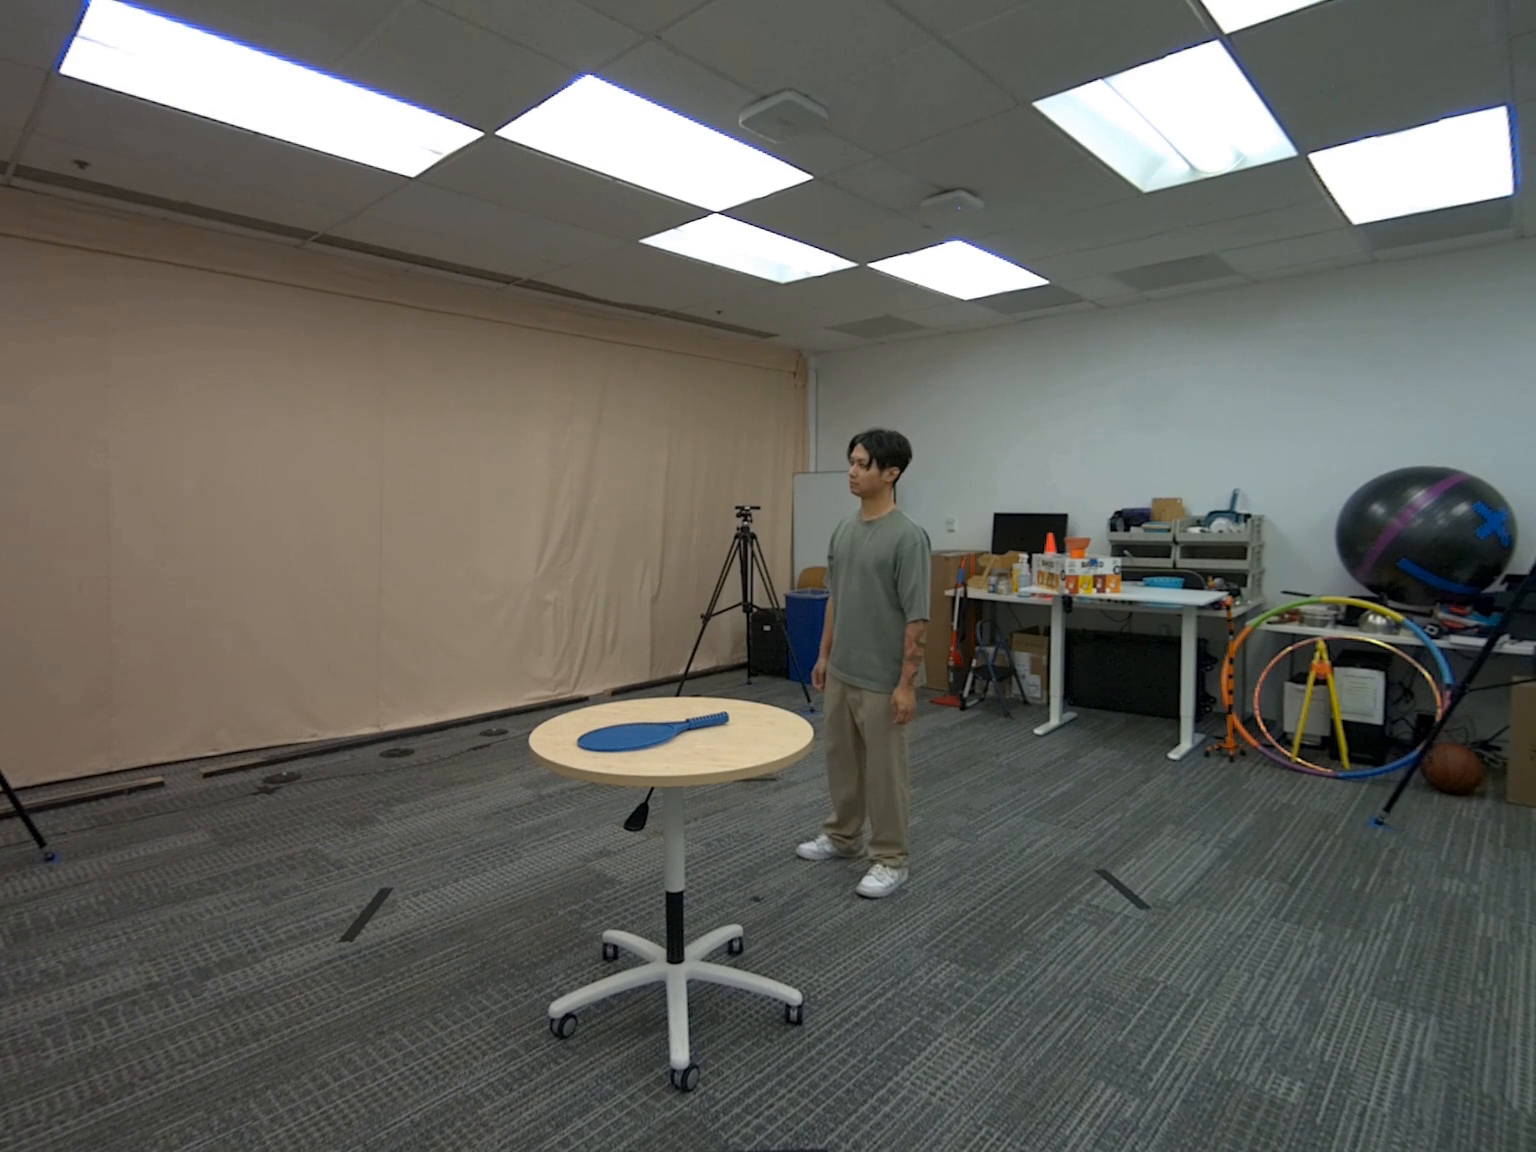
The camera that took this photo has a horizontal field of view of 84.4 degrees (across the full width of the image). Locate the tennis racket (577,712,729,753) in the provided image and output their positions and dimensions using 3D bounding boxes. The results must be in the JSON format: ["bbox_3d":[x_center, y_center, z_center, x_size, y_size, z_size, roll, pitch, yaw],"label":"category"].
[{"bbox_3d":[-0.290,0.409,2.251,0.422,0.031,0.220,-5,8,-28],"label":"tennis racket"}]
